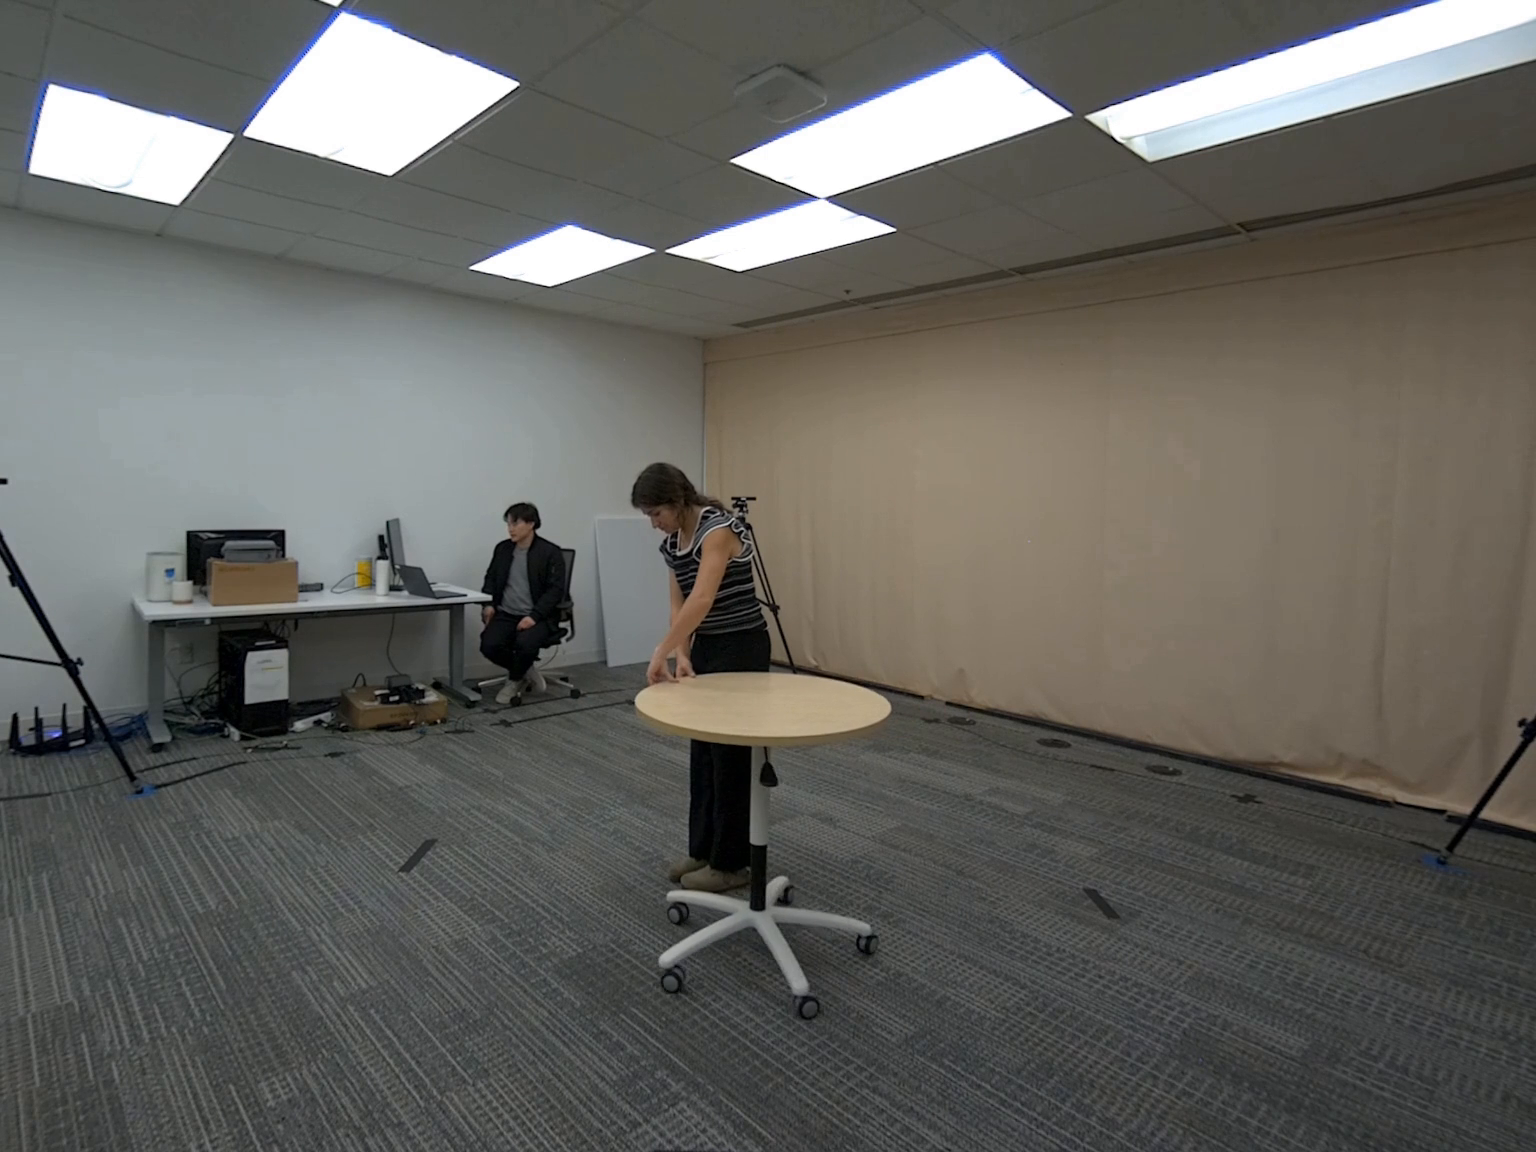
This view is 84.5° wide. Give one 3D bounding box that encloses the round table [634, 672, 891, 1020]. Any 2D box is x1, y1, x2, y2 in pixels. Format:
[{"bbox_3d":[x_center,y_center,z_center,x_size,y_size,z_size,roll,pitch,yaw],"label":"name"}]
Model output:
[{"bbox_3d":[-0.039,0.765,2.575,0.784,0.784,0.788,1,4,-1],"label":"round table"}]
